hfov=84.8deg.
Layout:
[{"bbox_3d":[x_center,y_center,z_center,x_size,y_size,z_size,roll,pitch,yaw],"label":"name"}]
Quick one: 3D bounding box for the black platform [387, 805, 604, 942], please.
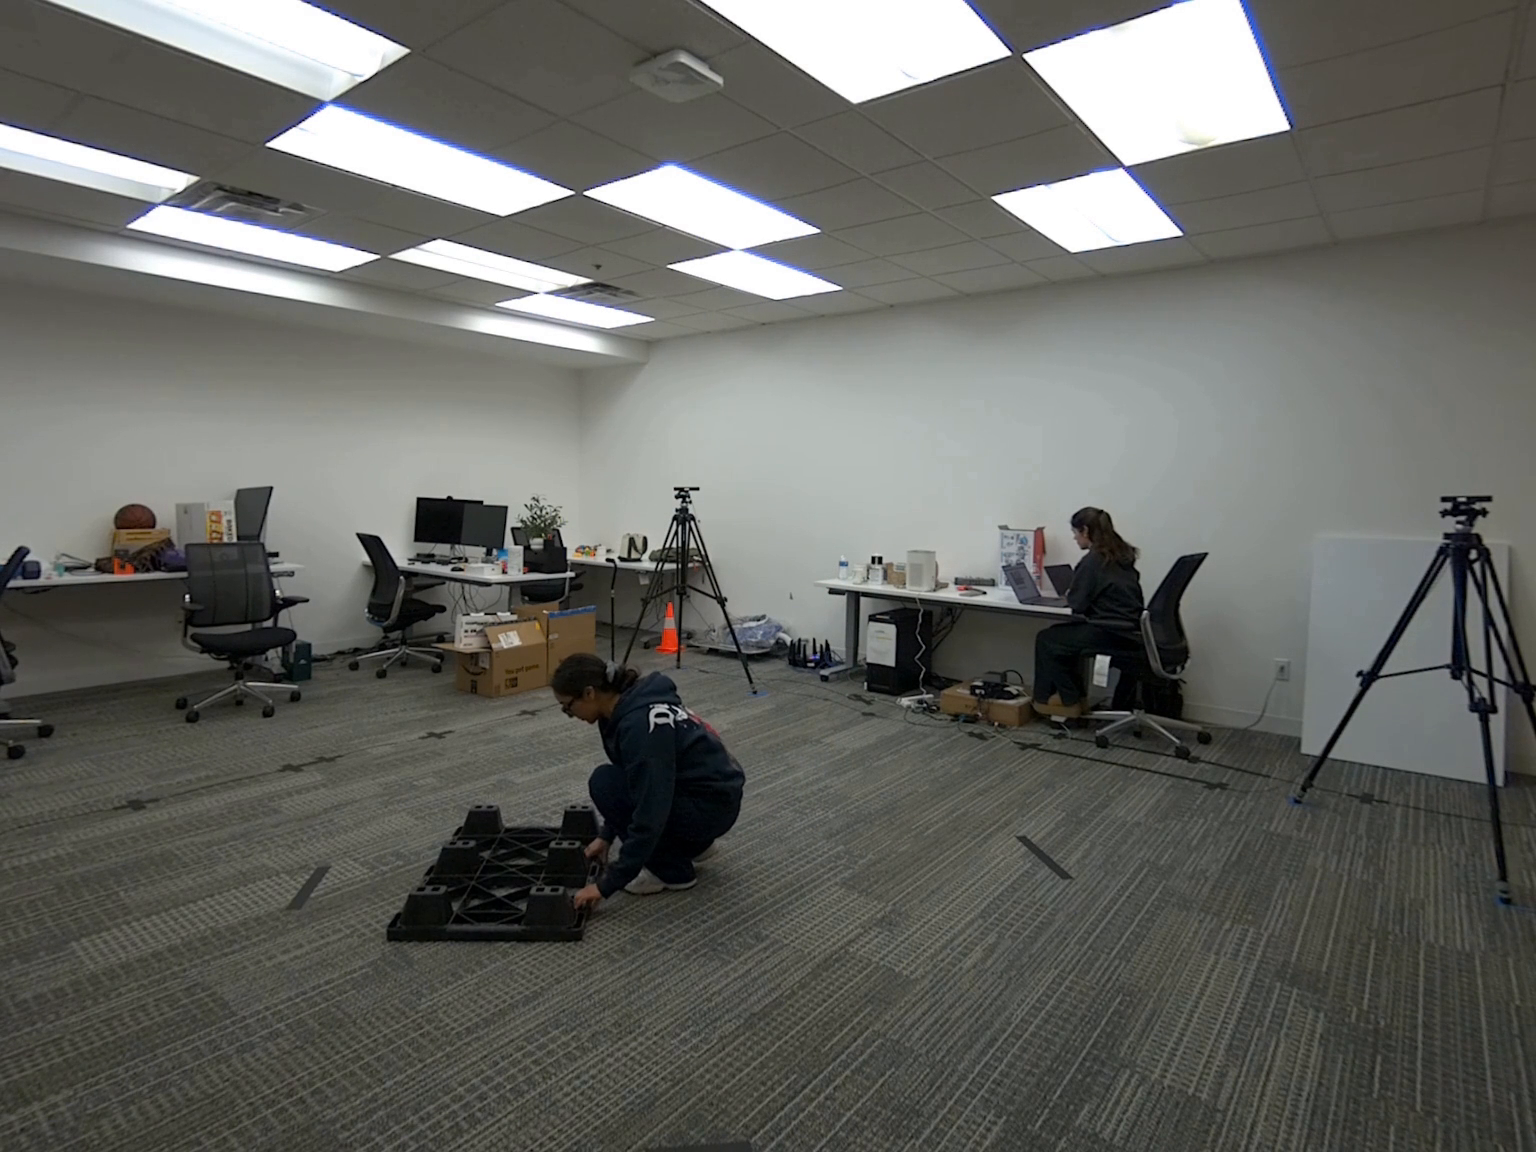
[{"bbox_3d":[-0.911,0.999,2.986,0.603,0.143,0.812,0,6,-4],"label":"black platform"}]
